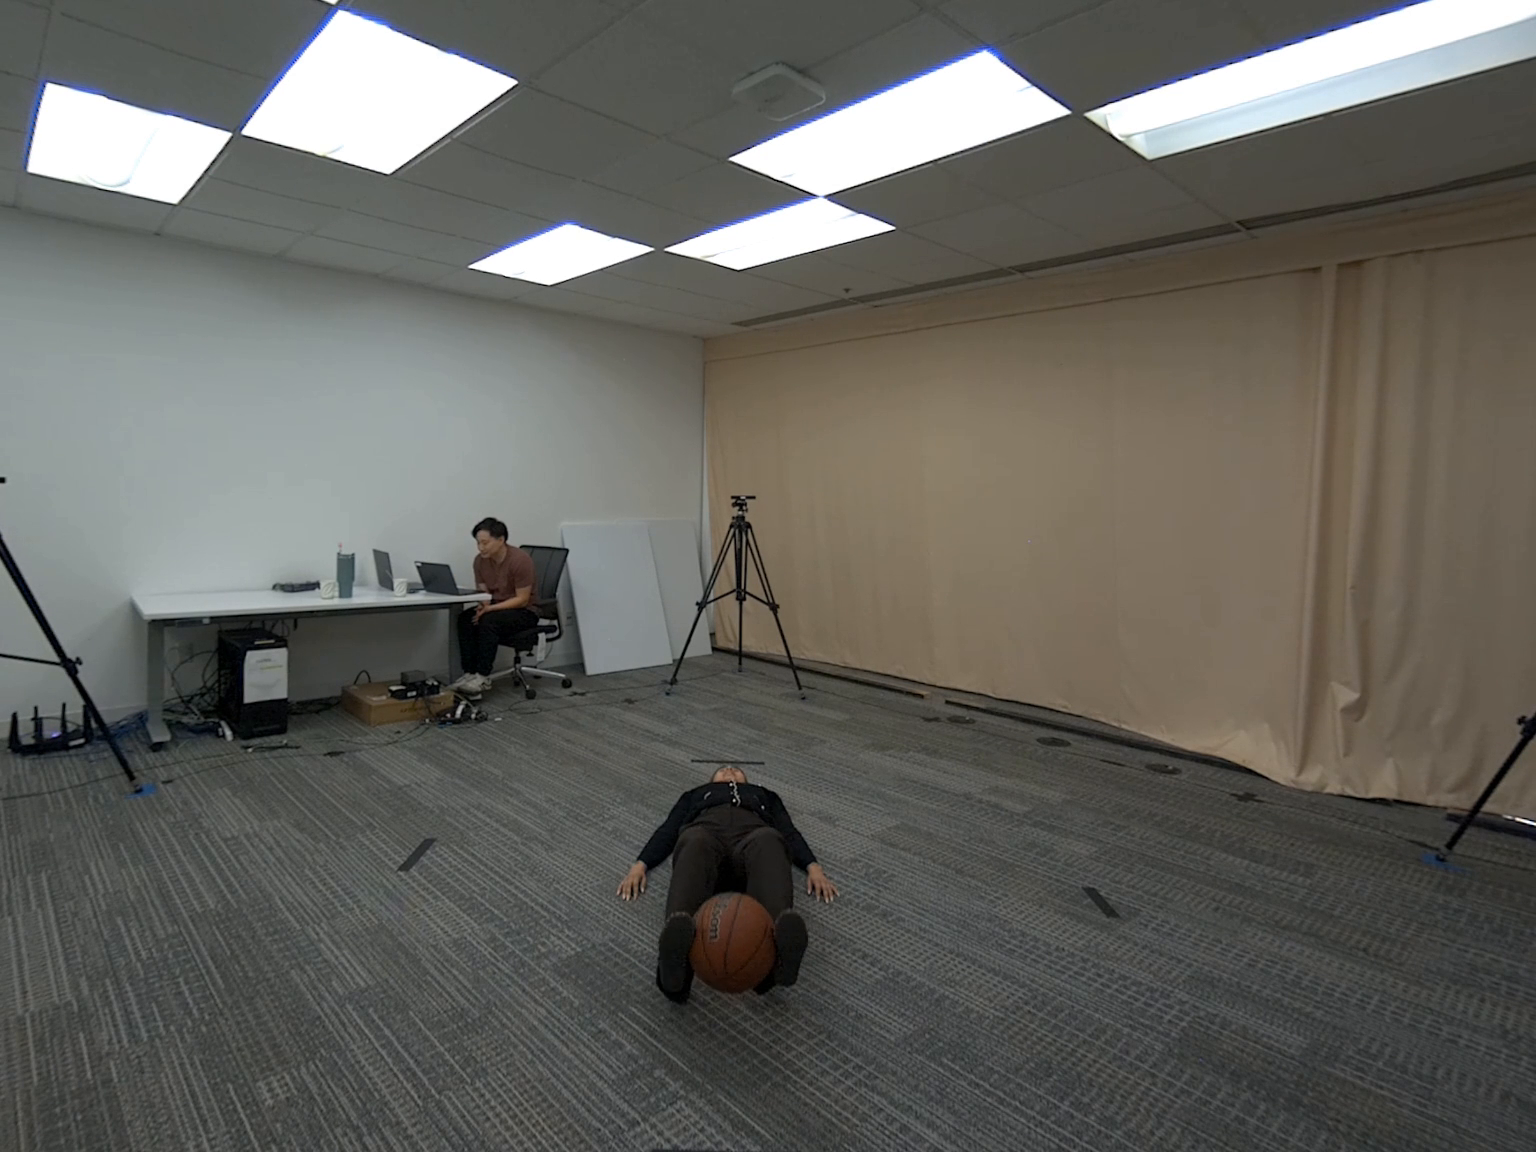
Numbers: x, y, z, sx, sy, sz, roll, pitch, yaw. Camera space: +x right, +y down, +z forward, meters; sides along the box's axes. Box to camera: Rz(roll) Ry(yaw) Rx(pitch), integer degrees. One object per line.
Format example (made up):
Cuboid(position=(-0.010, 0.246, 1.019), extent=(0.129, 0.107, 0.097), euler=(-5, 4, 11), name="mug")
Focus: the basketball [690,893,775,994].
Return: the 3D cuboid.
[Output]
Cuboid(position=(-0.101, 0.937, 2.181), extent=(0.235, 0.235, 0.237), euler=(4, 5, -2), name="basketball")
